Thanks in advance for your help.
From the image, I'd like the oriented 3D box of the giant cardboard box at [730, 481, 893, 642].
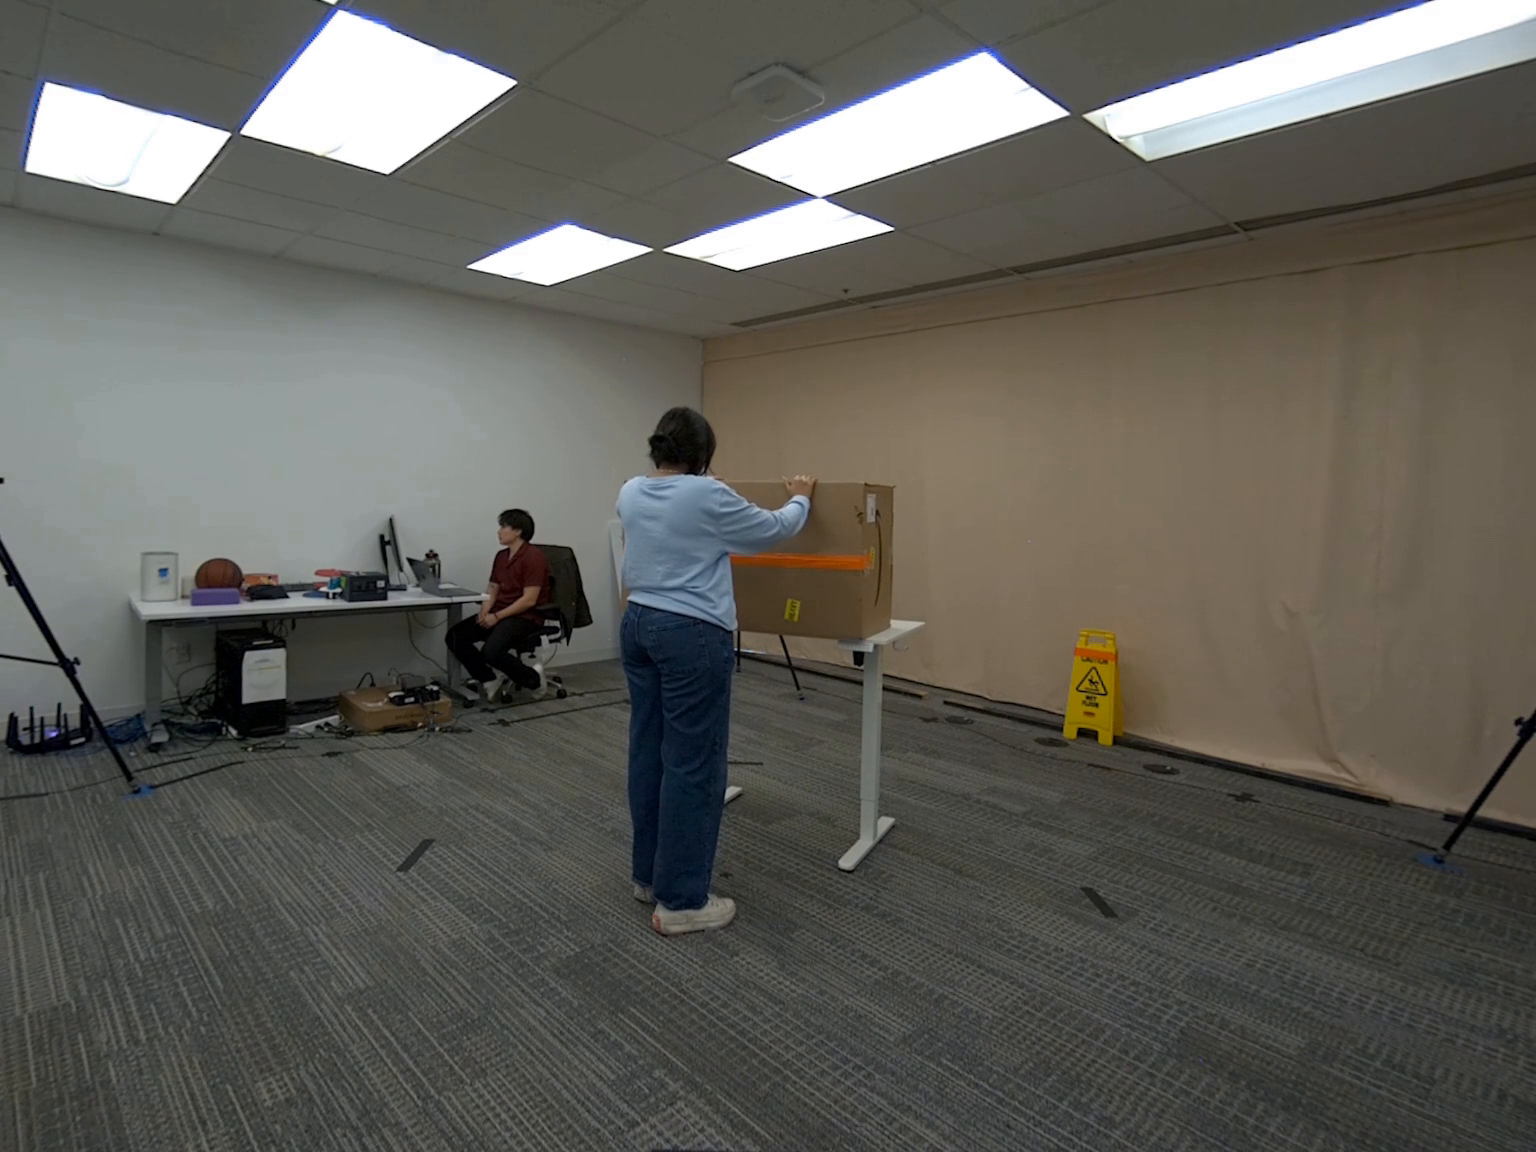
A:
[{"bbox_3d":[-0.047,-0.093,3.431,1.045,0.576,0.419,3,4,24],"label":"giant cardboard box"}]
